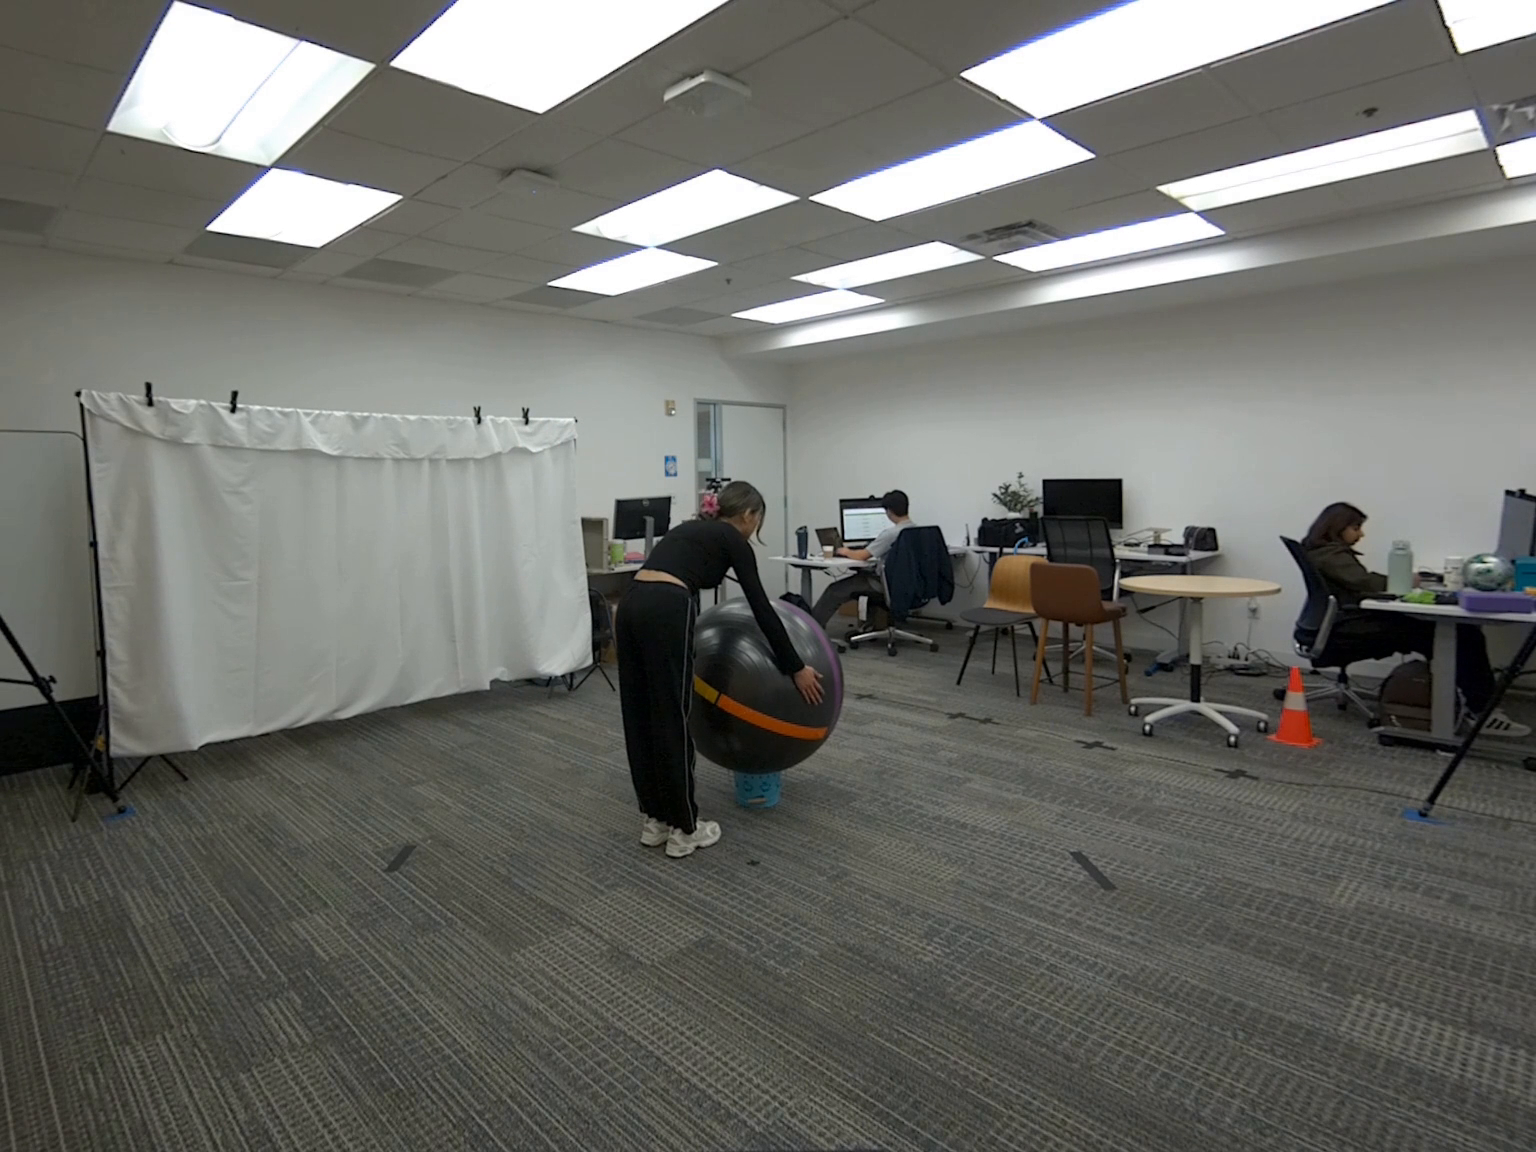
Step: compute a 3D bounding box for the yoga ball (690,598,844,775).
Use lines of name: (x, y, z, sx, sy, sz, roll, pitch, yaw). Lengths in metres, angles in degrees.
yoga ball: (-0.052, 0.470, 3.689, 0.757, 0.755, 0.762, -1, 5, -2)
